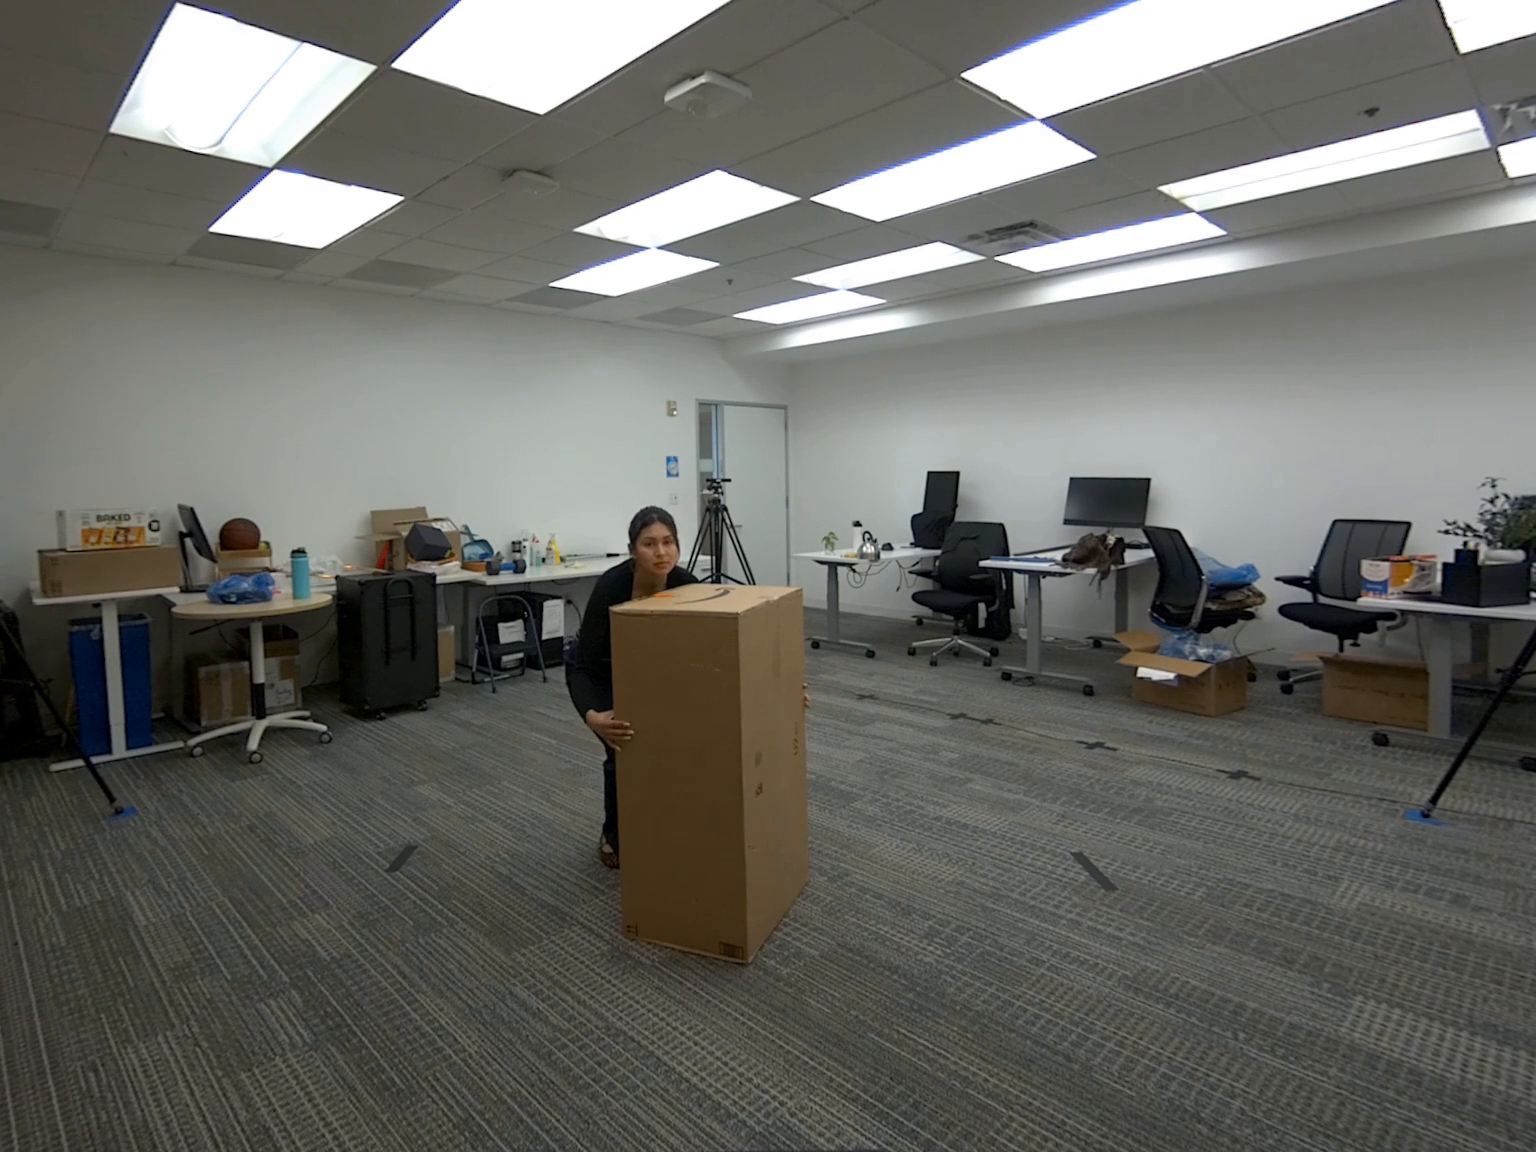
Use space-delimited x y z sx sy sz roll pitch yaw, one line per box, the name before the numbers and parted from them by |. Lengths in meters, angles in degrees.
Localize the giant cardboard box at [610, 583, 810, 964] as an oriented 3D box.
giant cardboard box | -0.164 0.576 2.757 0.435 1.022 0.567 0 4 23
